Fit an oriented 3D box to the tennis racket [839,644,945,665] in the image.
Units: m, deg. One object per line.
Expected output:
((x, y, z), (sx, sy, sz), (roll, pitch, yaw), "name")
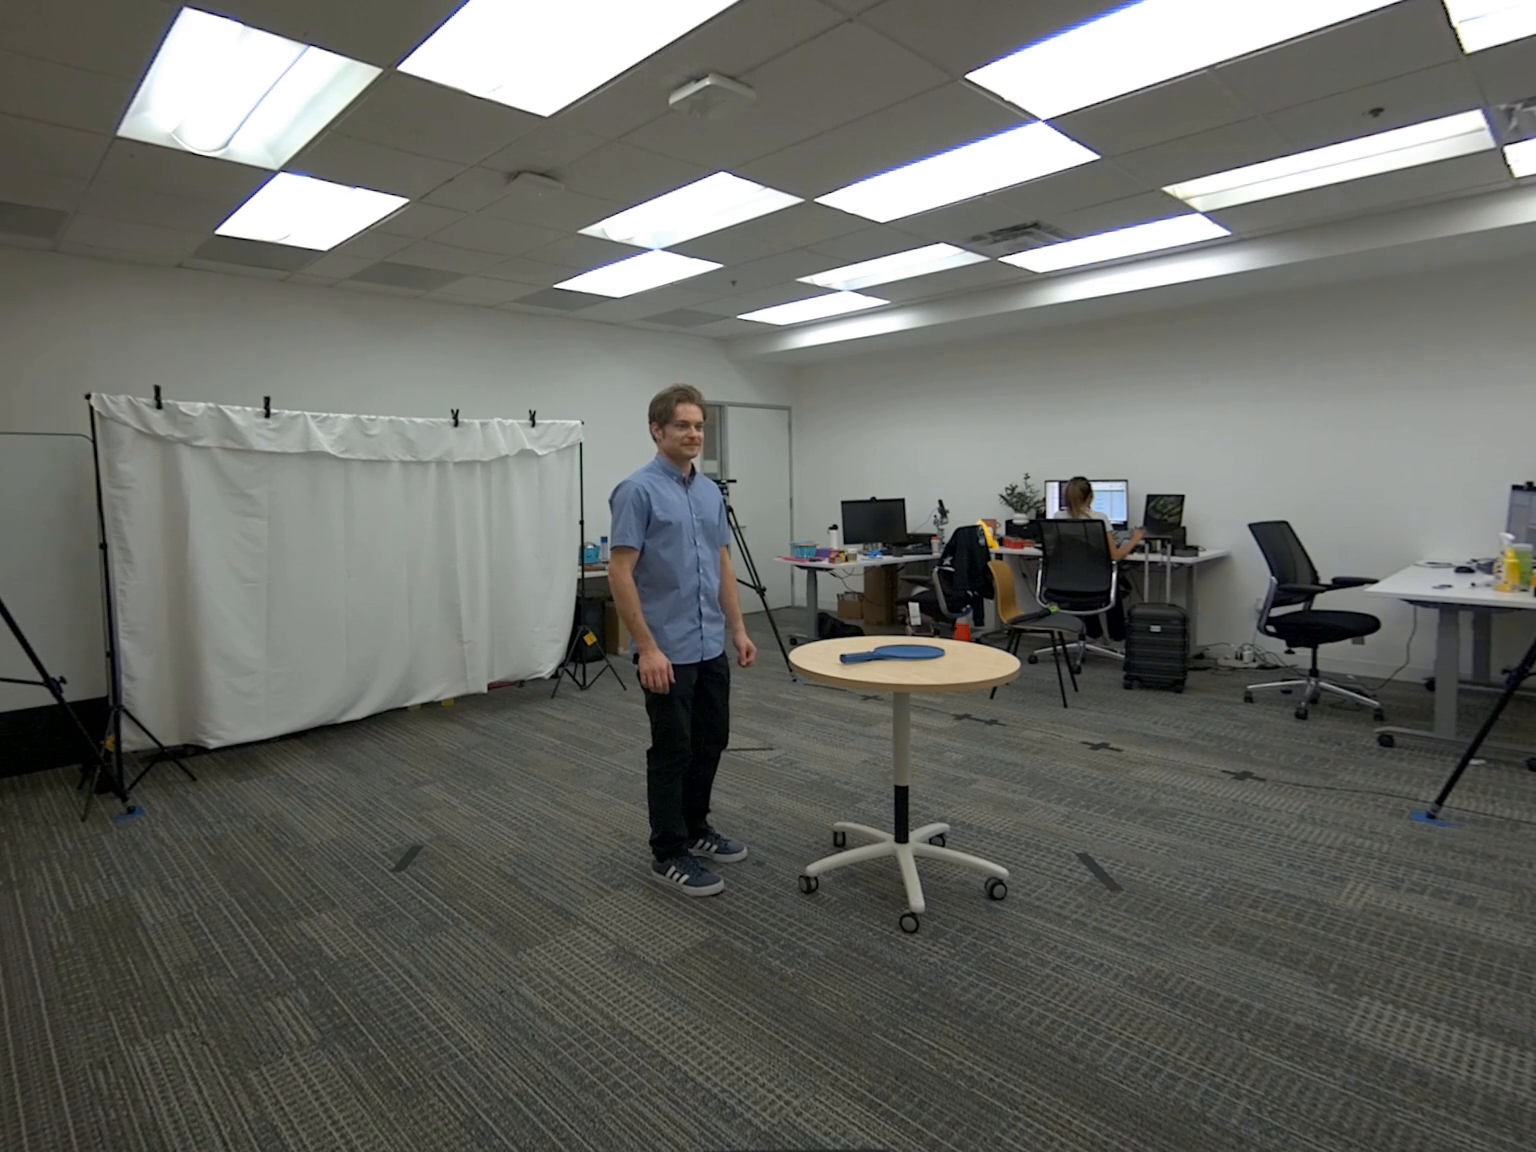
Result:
((0.426, 0.265, 2.911), (0.422, 0.031, 0.220), (-3, 8, -34), "tennis racket")
